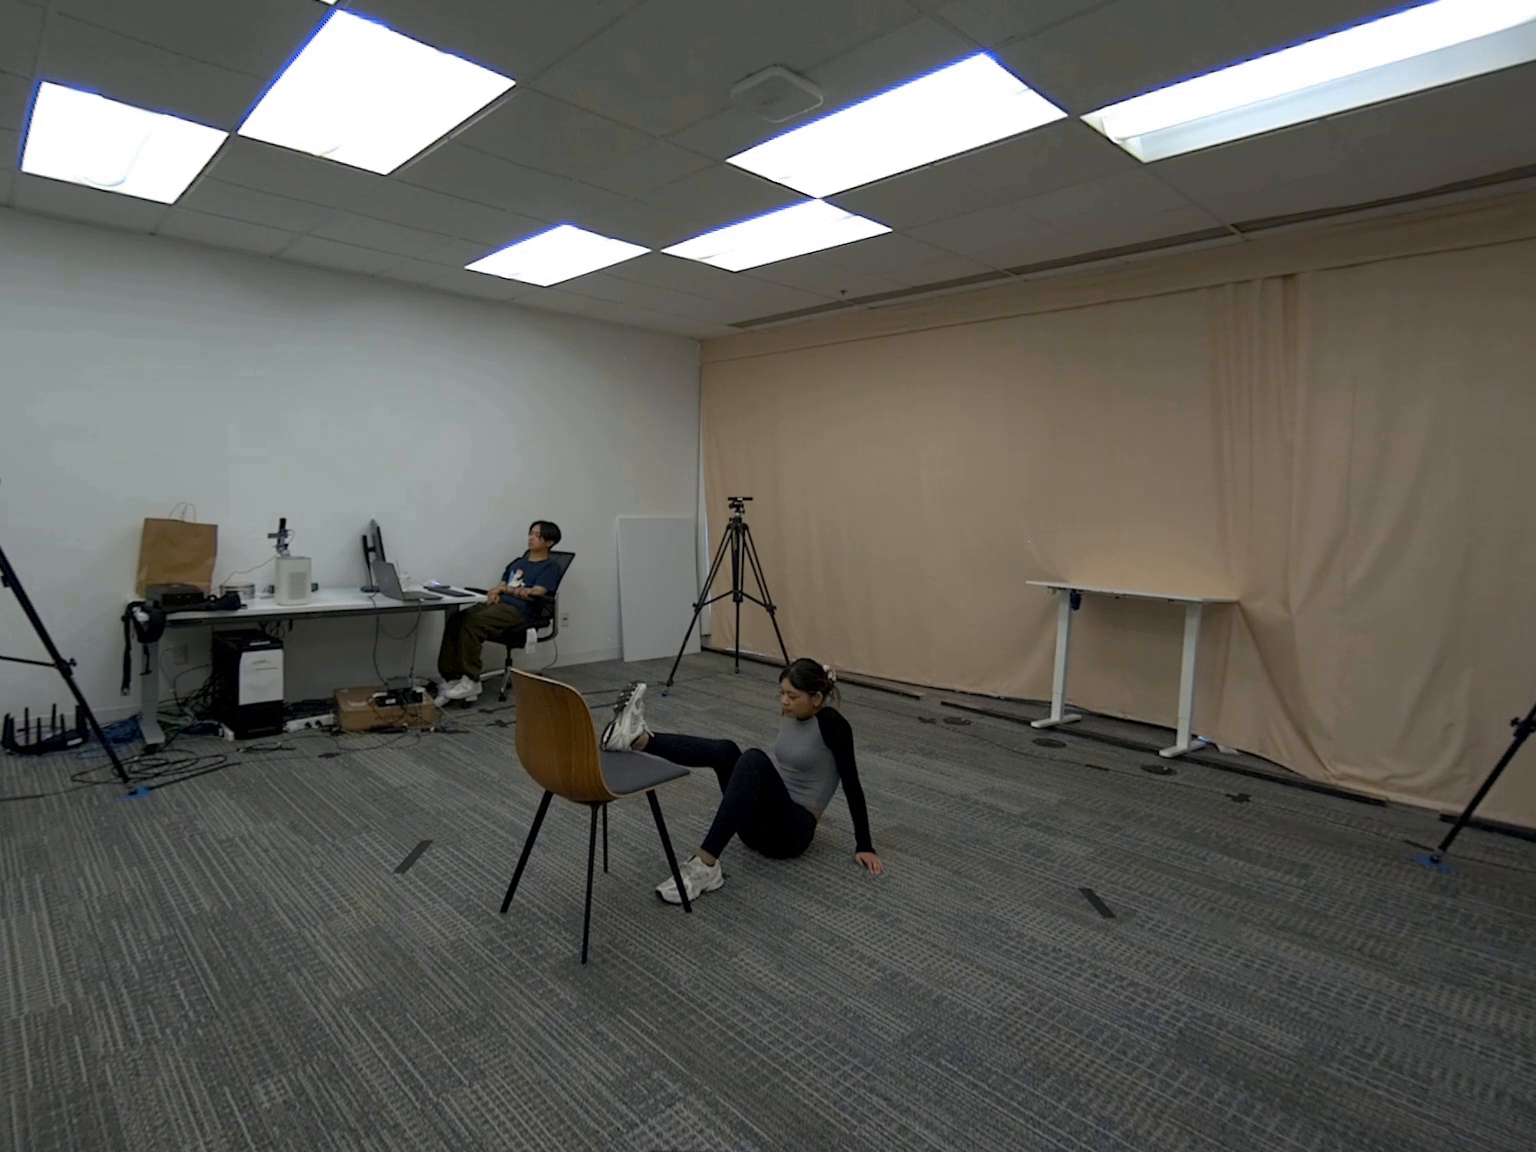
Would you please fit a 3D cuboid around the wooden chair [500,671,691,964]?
[{"bbox_3d":[-0.562,0.700,2.783,0.490,0.873,0.513,4,9,41],"label":"wooden chair"}]
